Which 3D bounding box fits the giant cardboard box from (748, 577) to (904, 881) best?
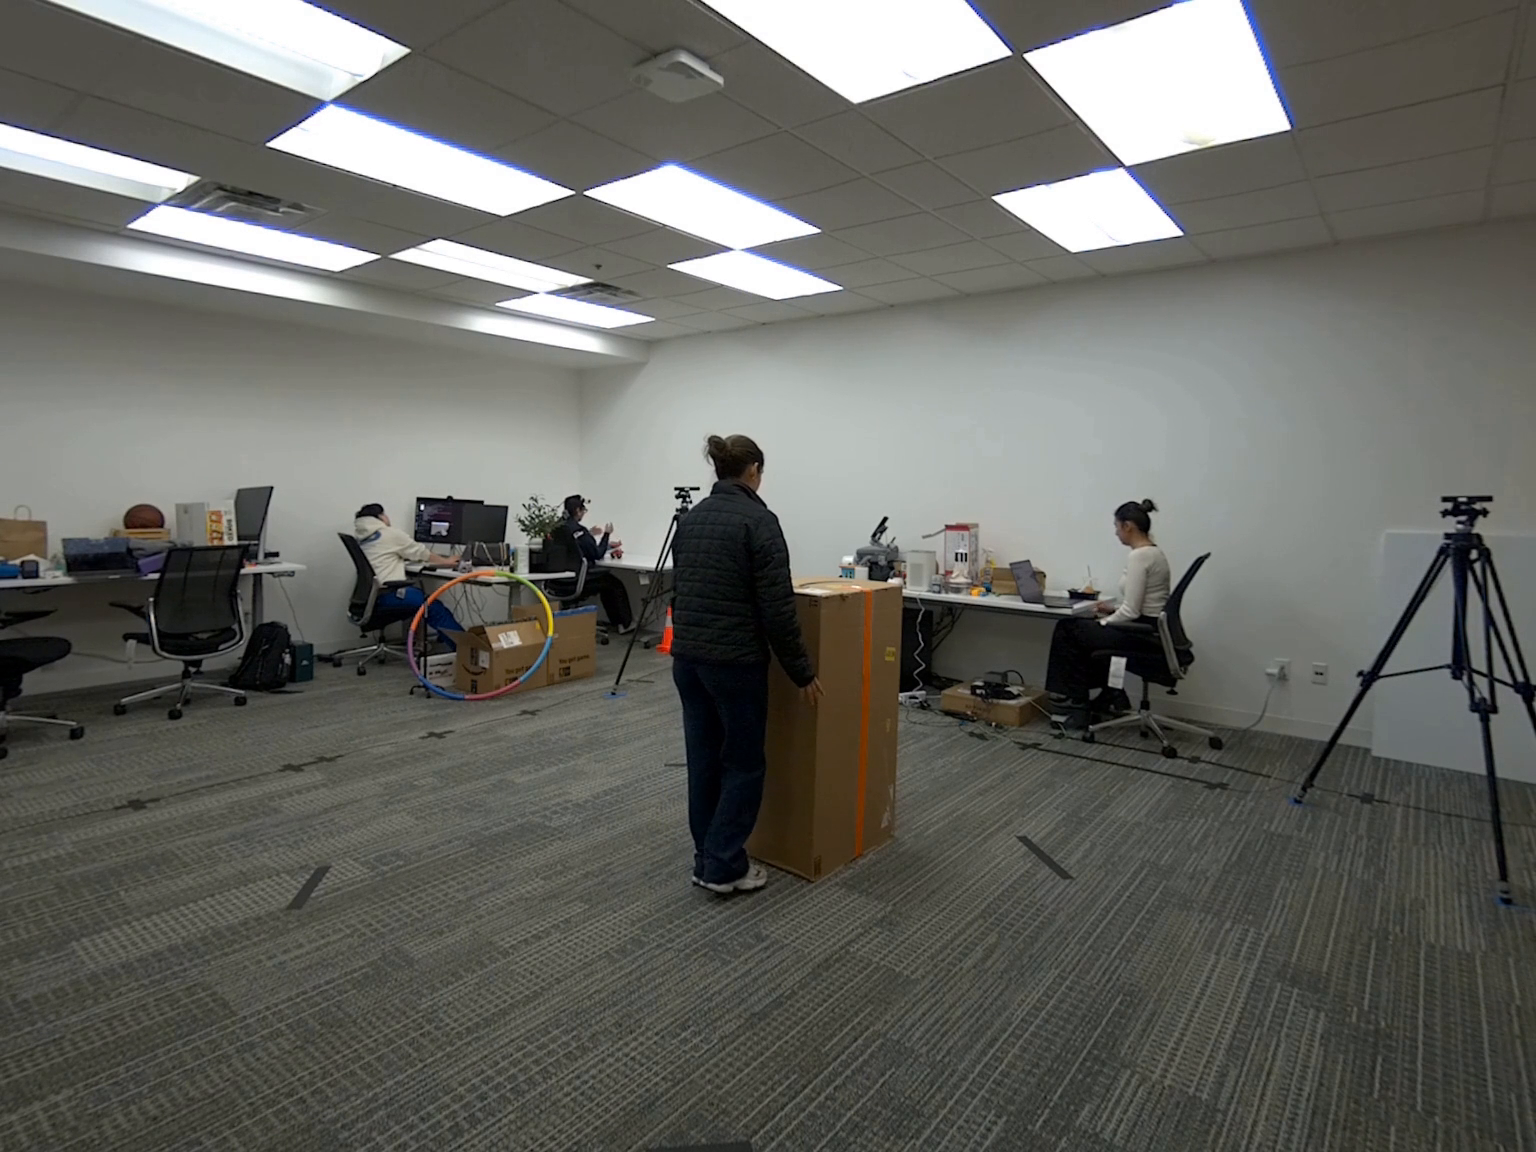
[{"bbox_3d":[0.208,0.540,3.352,0.440,1.023,0.560,3,4,40],"label":"giant cardboard box"}]
